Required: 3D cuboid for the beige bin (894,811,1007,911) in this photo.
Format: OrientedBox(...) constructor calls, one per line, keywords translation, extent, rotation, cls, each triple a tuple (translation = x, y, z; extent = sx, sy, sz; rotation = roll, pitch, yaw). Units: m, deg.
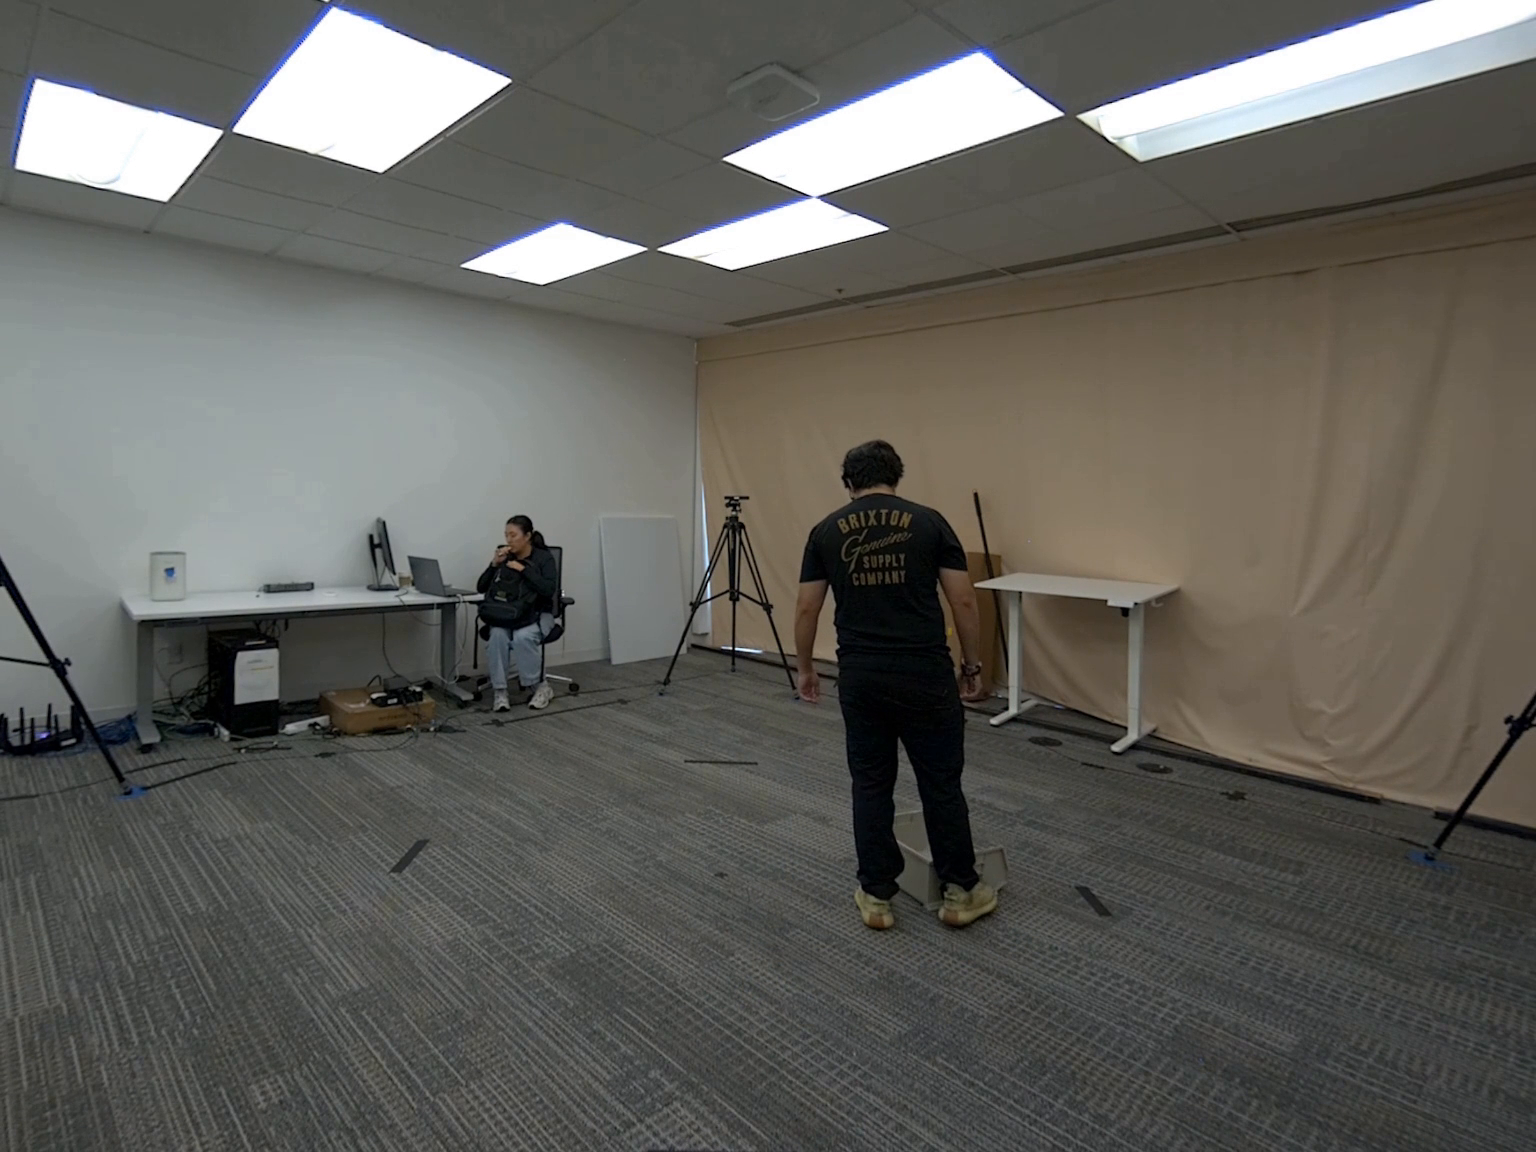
OrientedBox(translation=(0.603, 1.033, 3.120), extent=(0.370, 0.188, 0.432), rotation=(-2, 7, -29), cls="beige bin")
